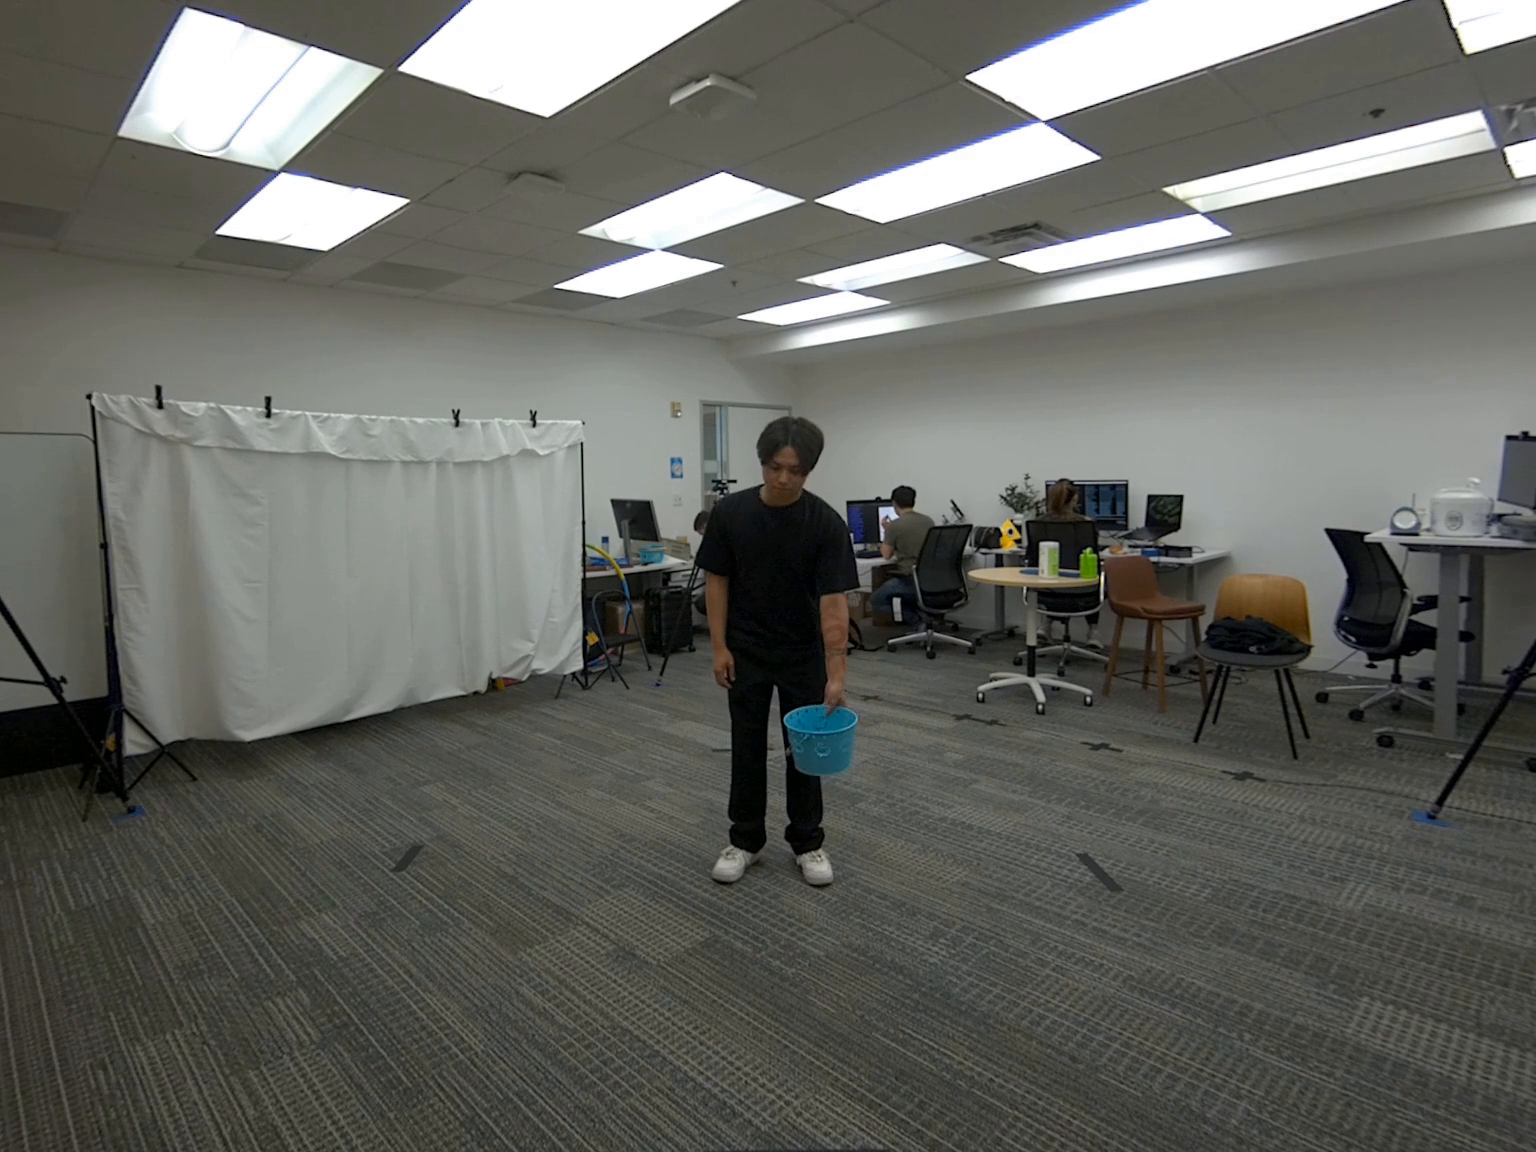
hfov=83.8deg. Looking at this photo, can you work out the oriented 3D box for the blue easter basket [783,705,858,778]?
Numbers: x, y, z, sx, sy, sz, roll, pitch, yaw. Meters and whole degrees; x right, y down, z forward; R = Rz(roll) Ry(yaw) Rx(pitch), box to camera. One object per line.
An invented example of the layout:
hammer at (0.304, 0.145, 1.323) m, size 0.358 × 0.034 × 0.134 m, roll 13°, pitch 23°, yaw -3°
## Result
blue easter basket at (0.172, 0.540, 2.728) m, size 0.243 × 0.154 × 0.246 m, roll -4°, pitch 12°, yaw -1°
